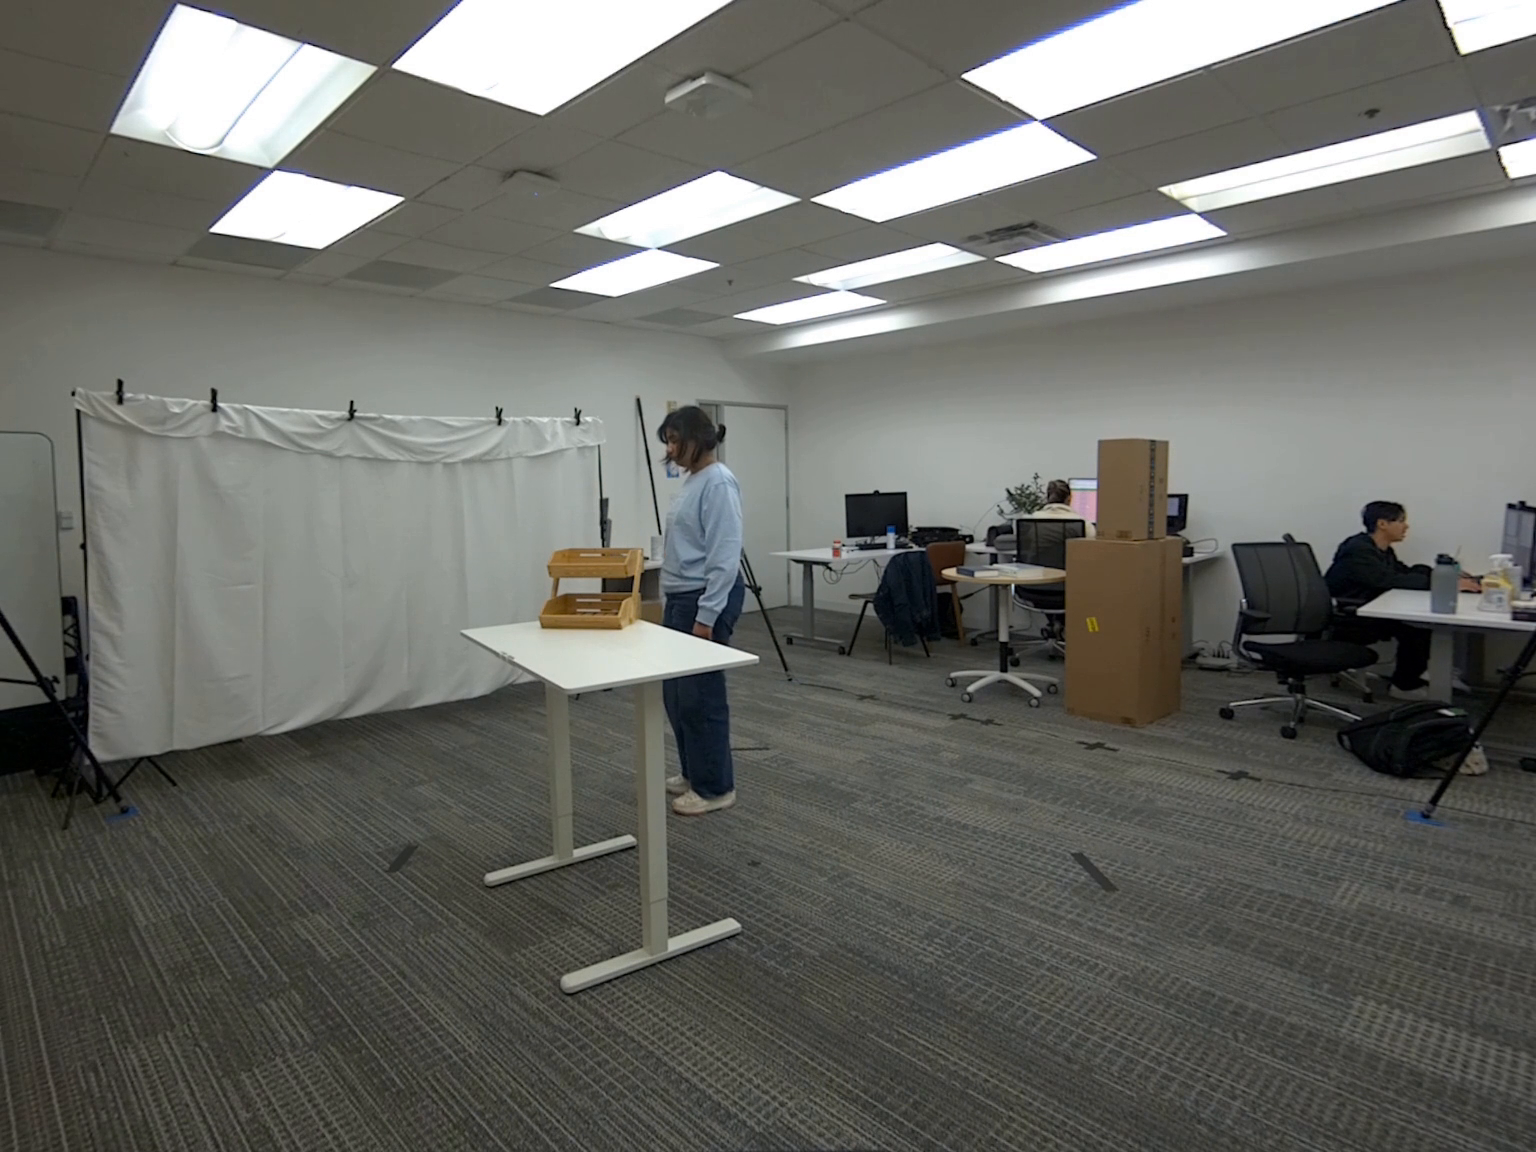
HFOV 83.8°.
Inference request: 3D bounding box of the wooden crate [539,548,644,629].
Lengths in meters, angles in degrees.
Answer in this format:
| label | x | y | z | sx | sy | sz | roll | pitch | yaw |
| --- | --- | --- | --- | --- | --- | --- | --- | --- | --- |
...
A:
| label | x | y | z | sx | sy | sz | roll | pitch | yaw |
| --- | --- | --- | --- | --- | --- | --- | --- | --- | --- |
| wooden crate | -0.641 | 0.037 | 3.103 | 0.328 | 0.272 | 0.300 | 0 | 5 | 10 |
